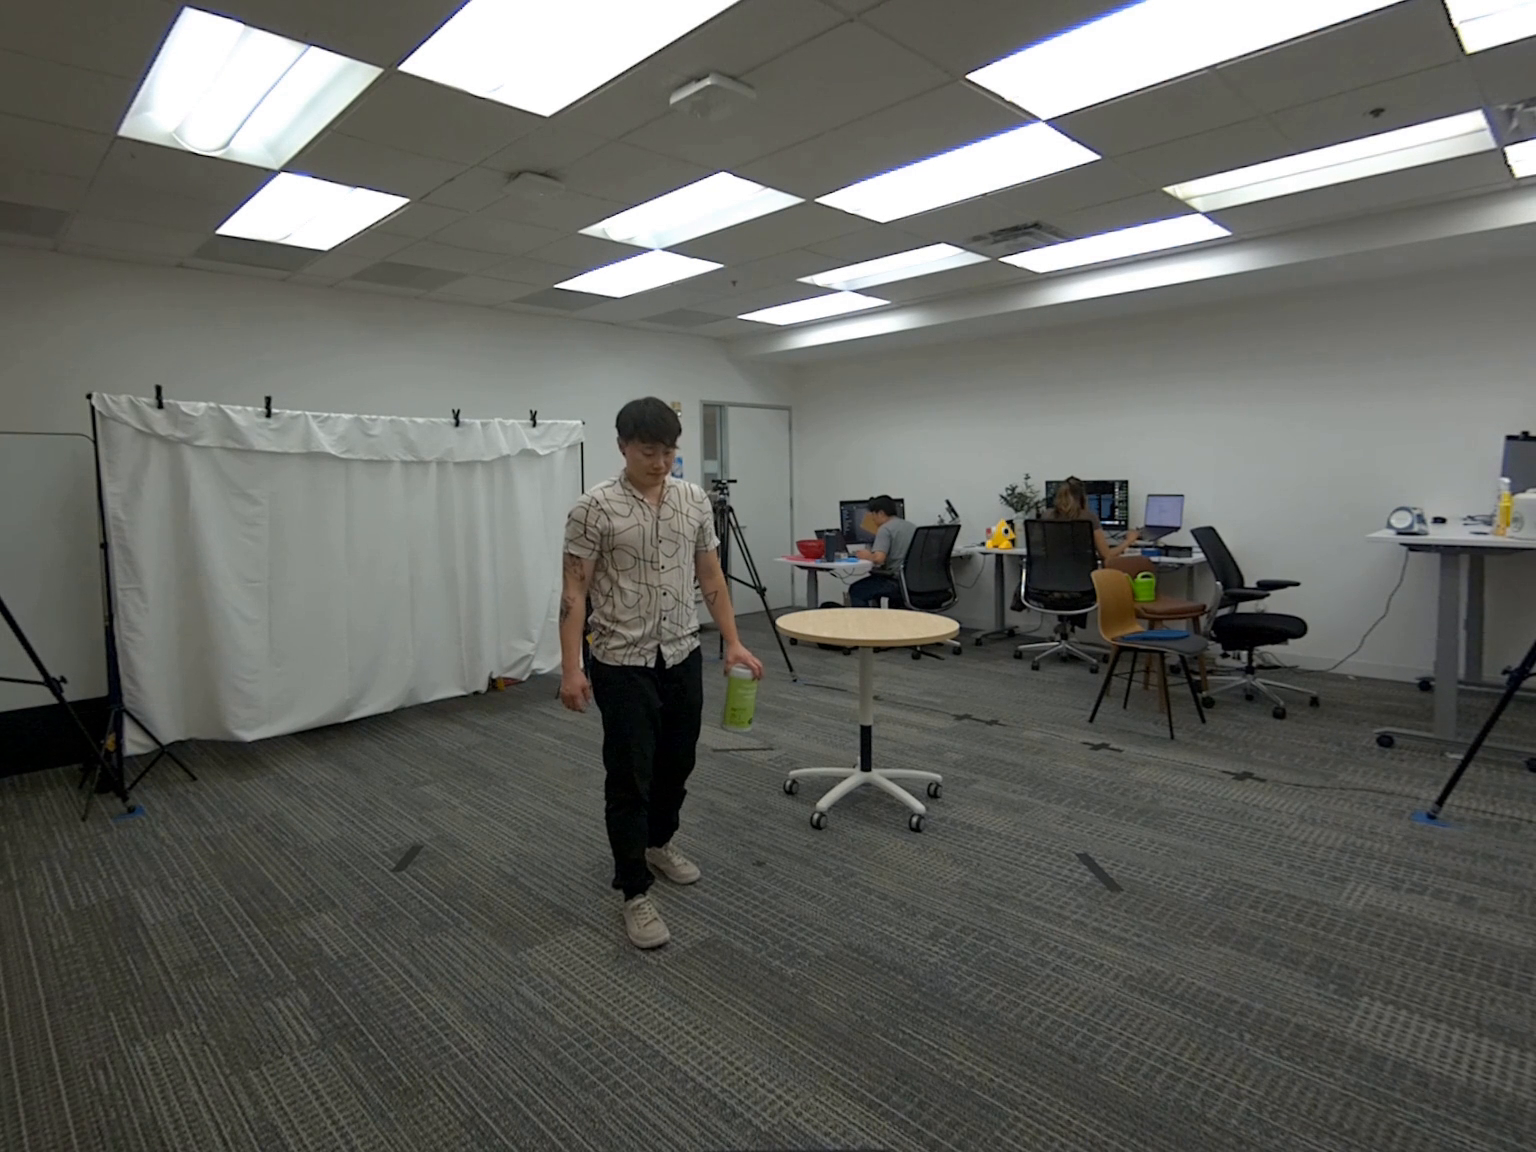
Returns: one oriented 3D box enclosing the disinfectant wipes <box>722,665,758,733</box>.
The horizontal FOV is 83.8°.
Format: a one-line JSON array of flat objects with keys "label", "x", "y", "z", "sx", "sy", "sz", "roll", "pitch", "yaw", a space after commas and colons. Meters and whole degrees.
[{"label": "disinfectant wipes", "x": -0.104, "y": 0.406, "z": 2.858, "sx": 0.117, "sy": 0.216, "sz": 0.118, "roll": 6, "pitch": 6, "yaw": -2}]
